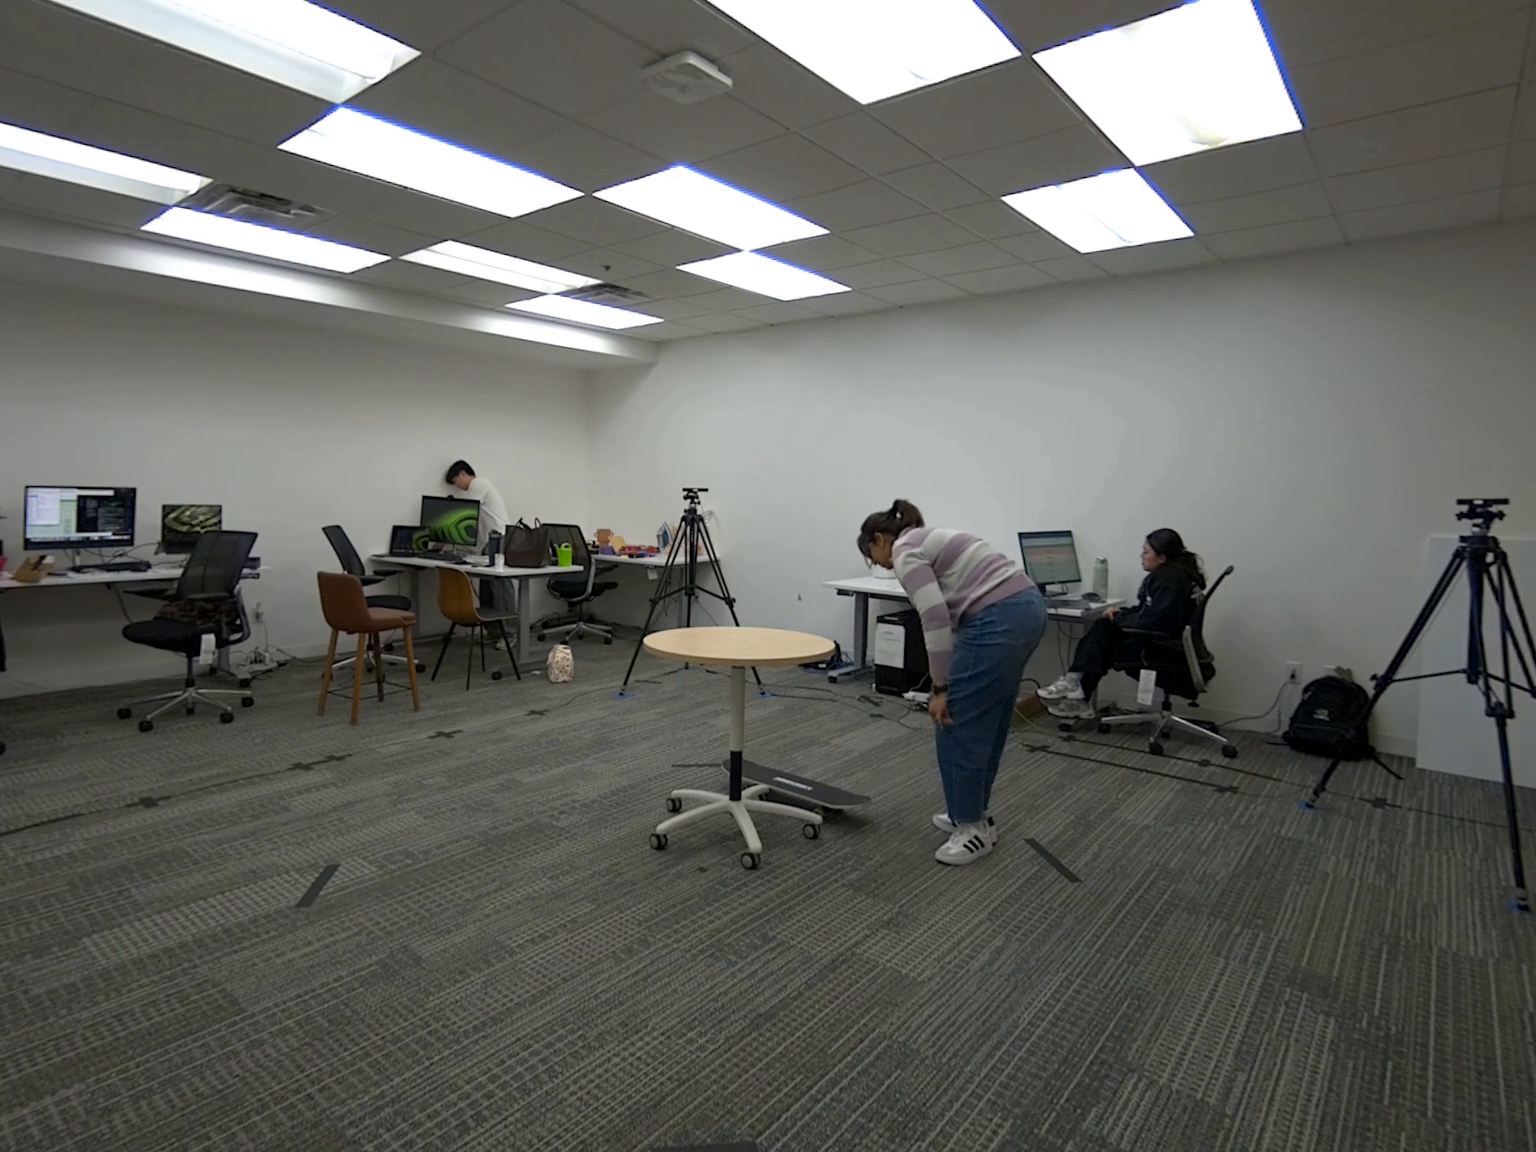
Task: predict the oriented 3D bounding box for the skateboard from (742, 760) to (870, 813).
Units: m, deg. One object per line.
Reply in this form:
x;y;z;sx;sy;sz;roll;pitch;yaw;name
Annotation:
0.097;0.950;3.788;0.812;0.110;0.188;6;7;40;skateboard
